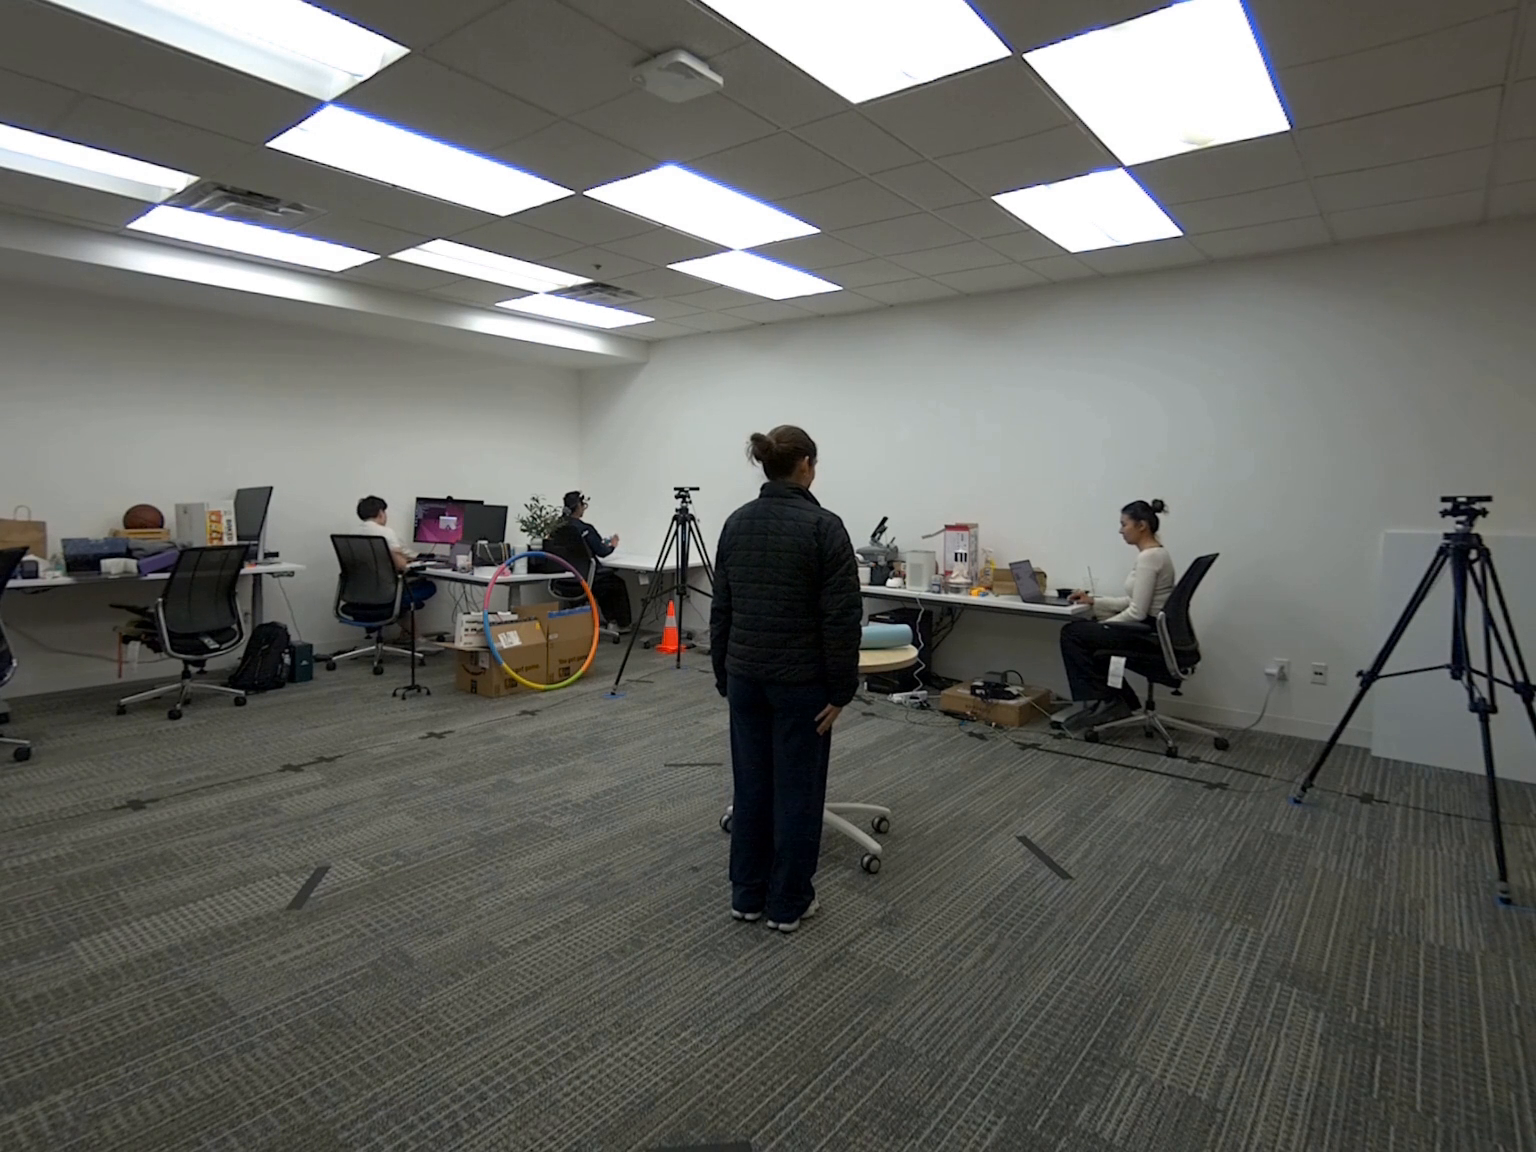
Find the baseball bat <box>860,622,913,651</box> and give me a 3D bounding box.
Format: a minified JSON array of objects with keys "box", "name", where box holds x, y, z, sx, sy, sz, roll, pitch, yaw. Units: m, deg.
[{"box":[0.336,0.247,3.293,0.536,0.089,0.090,-4,5,-12],"name":"baseball bat"}]
